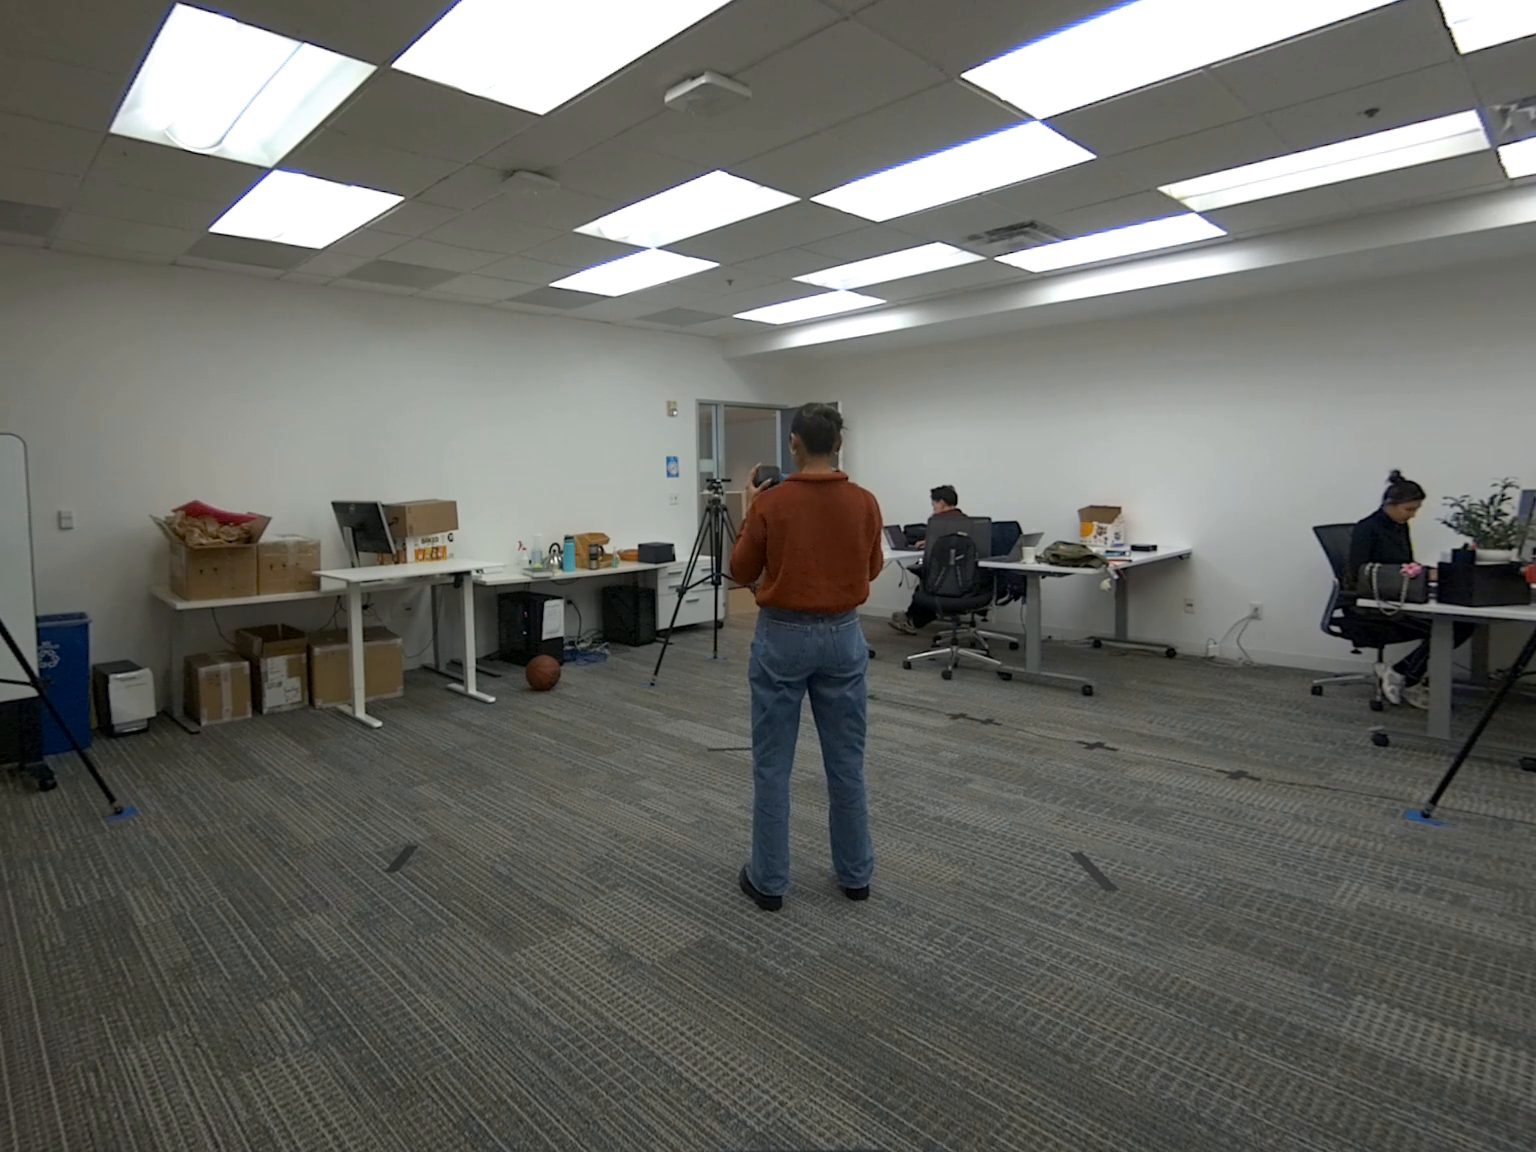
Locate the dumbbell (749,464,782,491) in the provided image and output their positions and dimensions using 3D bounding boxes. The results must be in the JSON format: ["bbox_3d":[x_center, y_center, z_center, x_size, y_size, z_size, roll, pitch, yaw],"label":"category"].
[{"bbox_3d":[0.111,-0.331,2.934,0.290,0.120,0.112,2,37,-10],"label":"dumbbell"}]
